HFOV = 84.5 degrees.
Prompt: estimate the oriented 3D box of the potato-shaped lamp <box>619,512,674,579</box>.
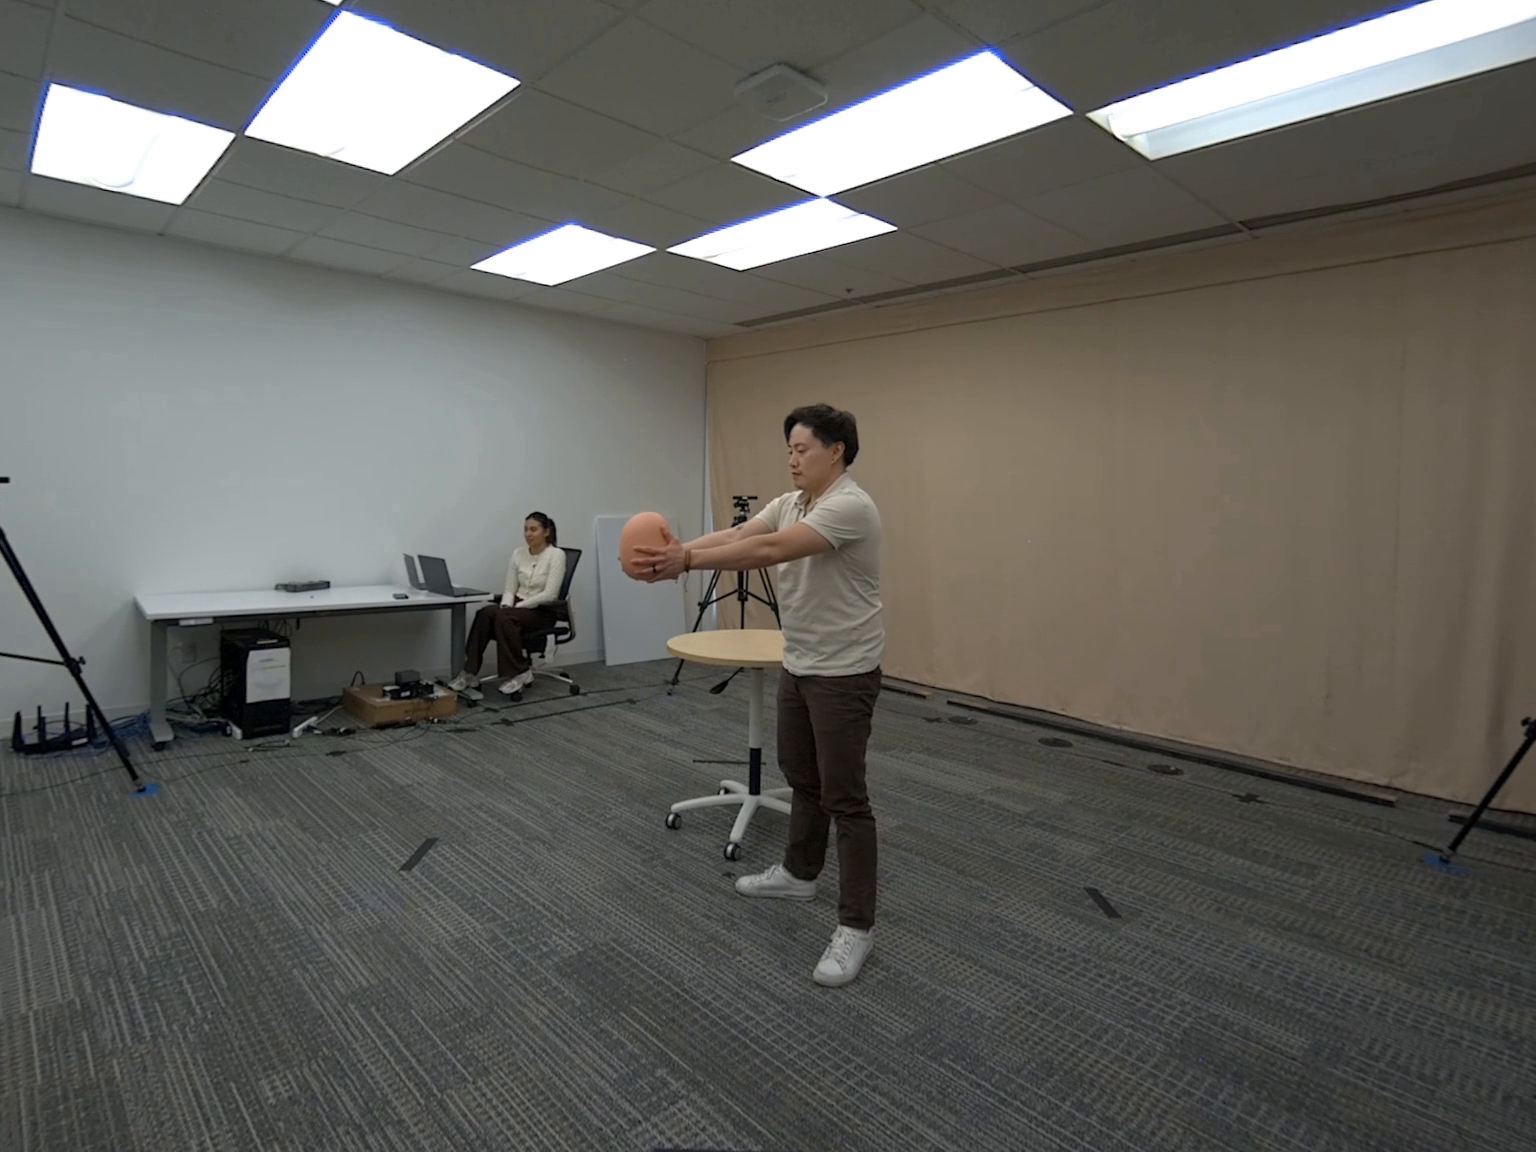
[{"bbox_3d":[-0.340,-0.086,2.445,0.169,0.198,0.167,-8,1,-23],"label":"potato-shaped lamp"}]
